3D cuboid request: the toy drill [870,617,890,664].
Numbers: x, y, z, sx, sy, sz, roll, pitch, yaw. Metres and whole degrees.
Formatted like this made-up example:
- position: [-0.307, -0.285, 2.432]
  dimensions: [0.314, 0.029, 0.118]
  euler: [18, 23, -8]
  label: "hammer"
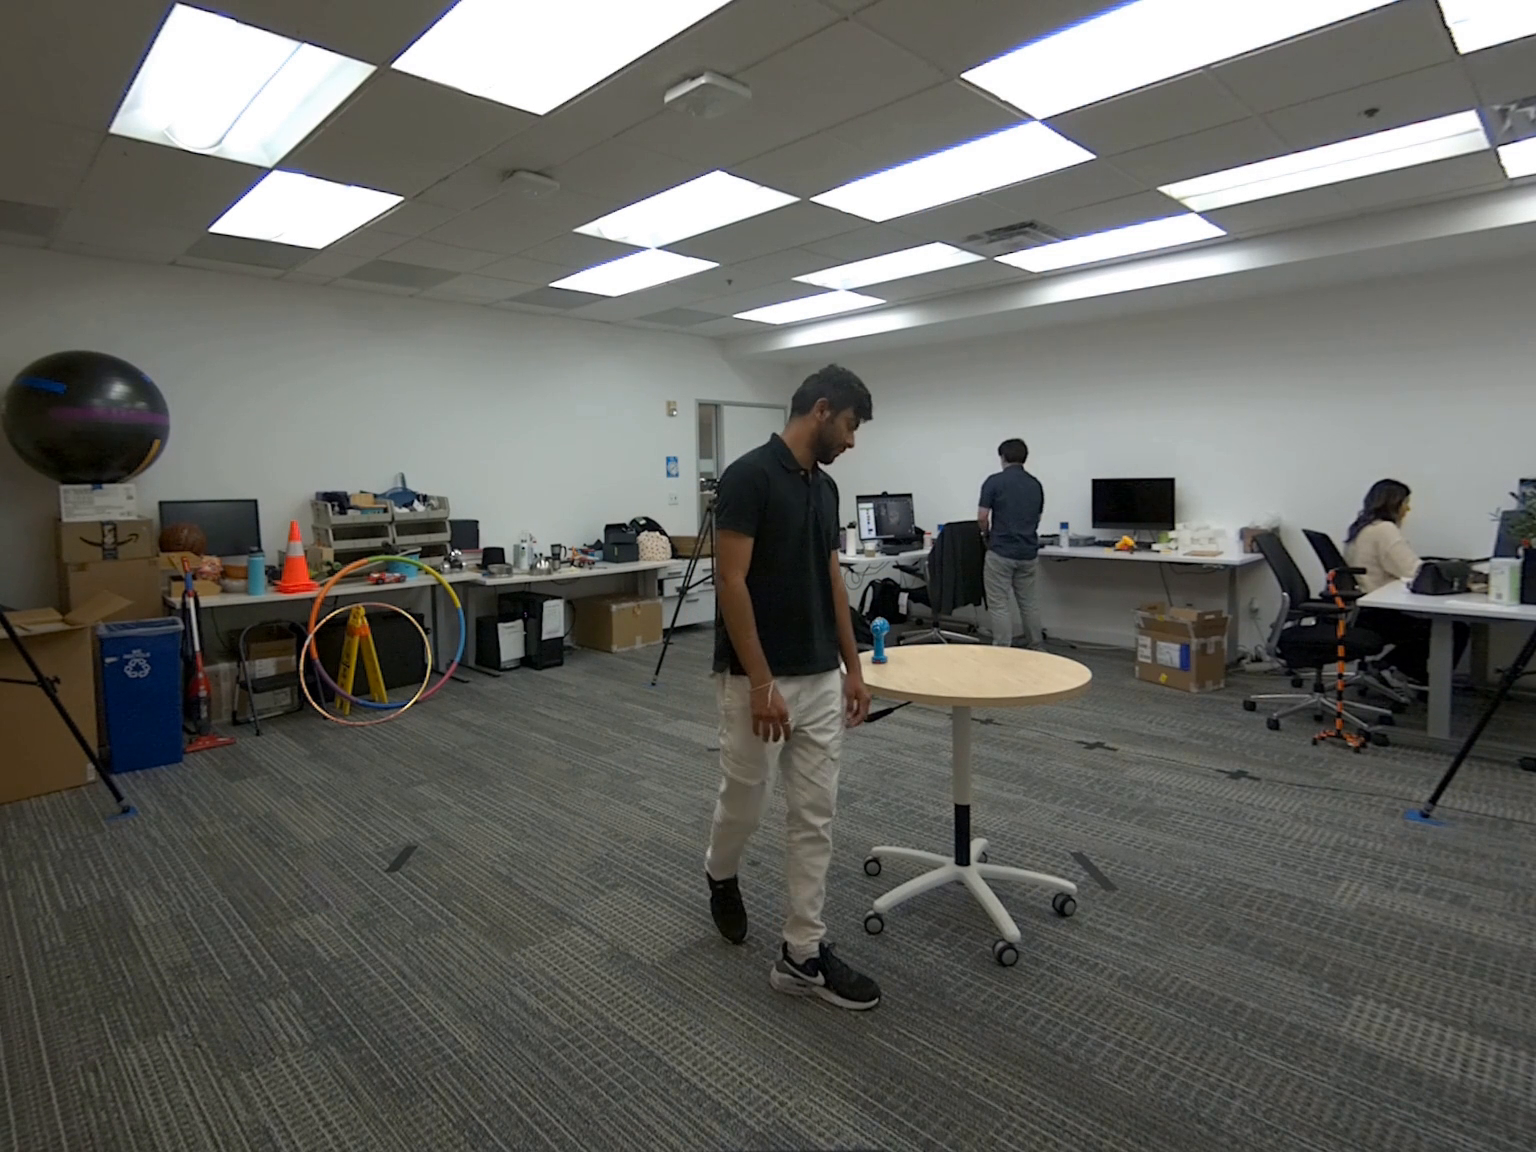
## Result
- position: [0.378, 0.210, 2.874]
  dimensions: [0.062, 0.145, 0.168]
  euler: [0, 5, 11]
  label: "toy drill"
